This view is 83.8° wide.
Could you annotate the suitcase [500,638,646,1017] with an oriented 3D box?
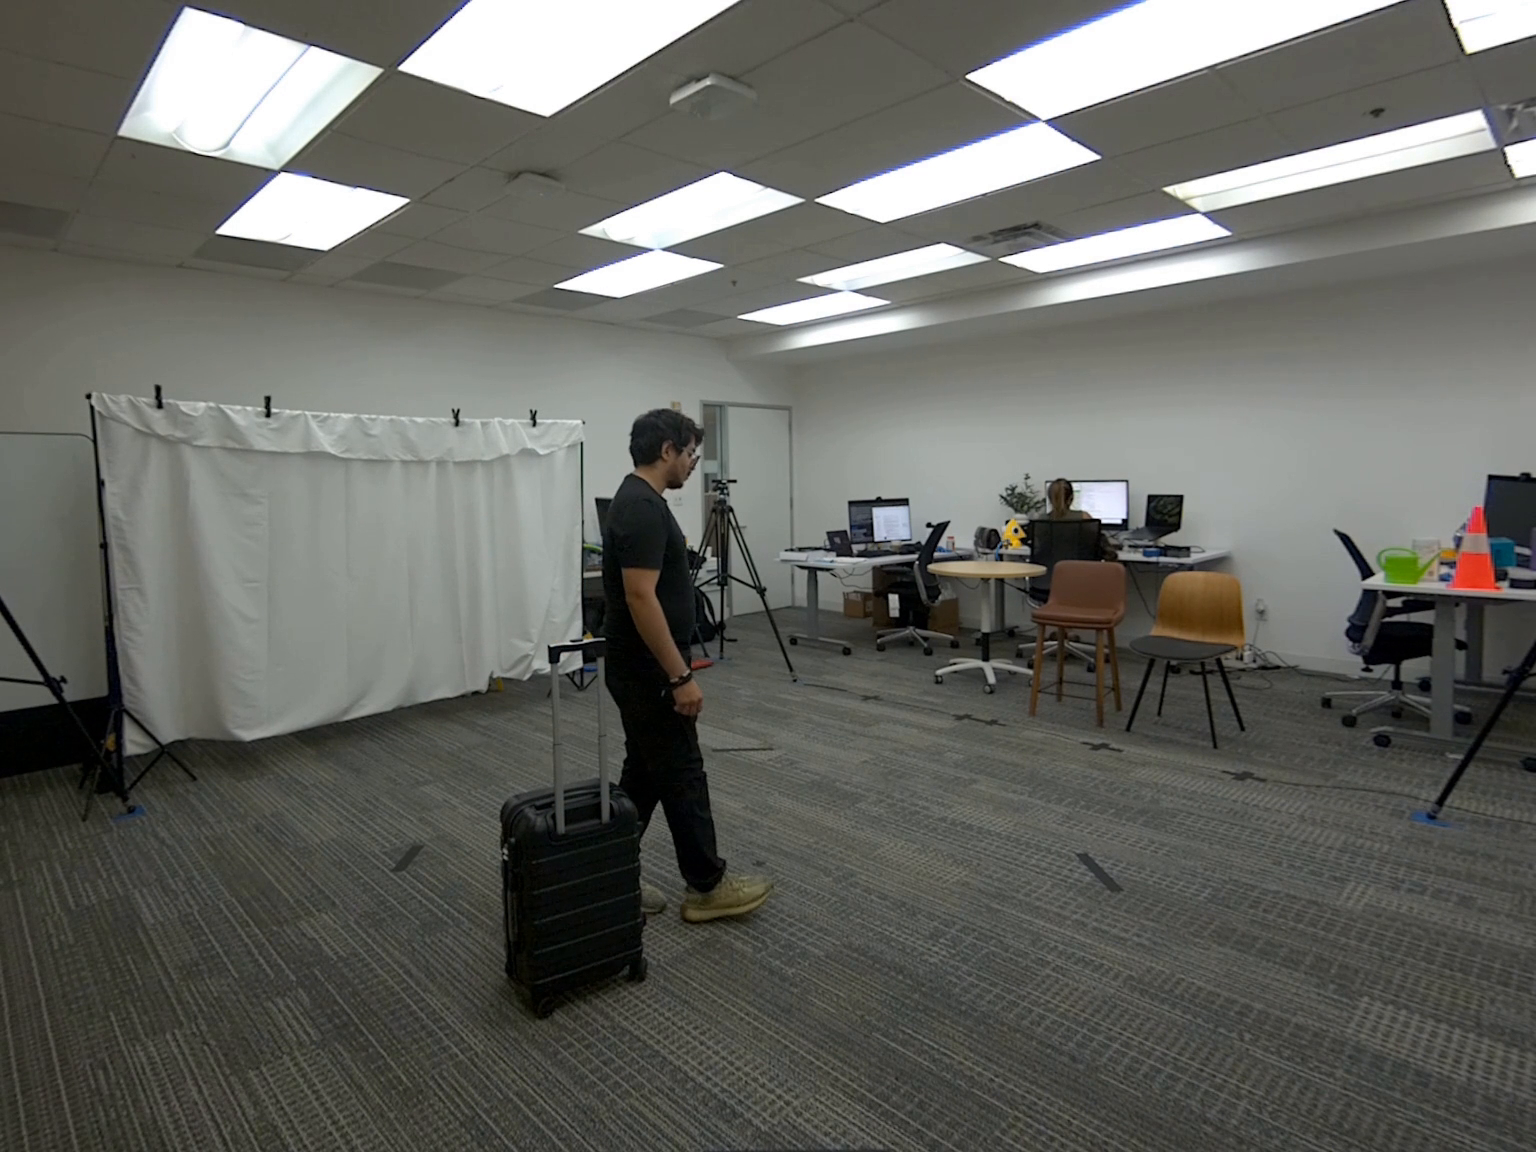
[{"bbox_3d":[-0.556,0.665,2.370,0.375,0.975,0.264,-4,4,-32],"label":"suitcase"}]
